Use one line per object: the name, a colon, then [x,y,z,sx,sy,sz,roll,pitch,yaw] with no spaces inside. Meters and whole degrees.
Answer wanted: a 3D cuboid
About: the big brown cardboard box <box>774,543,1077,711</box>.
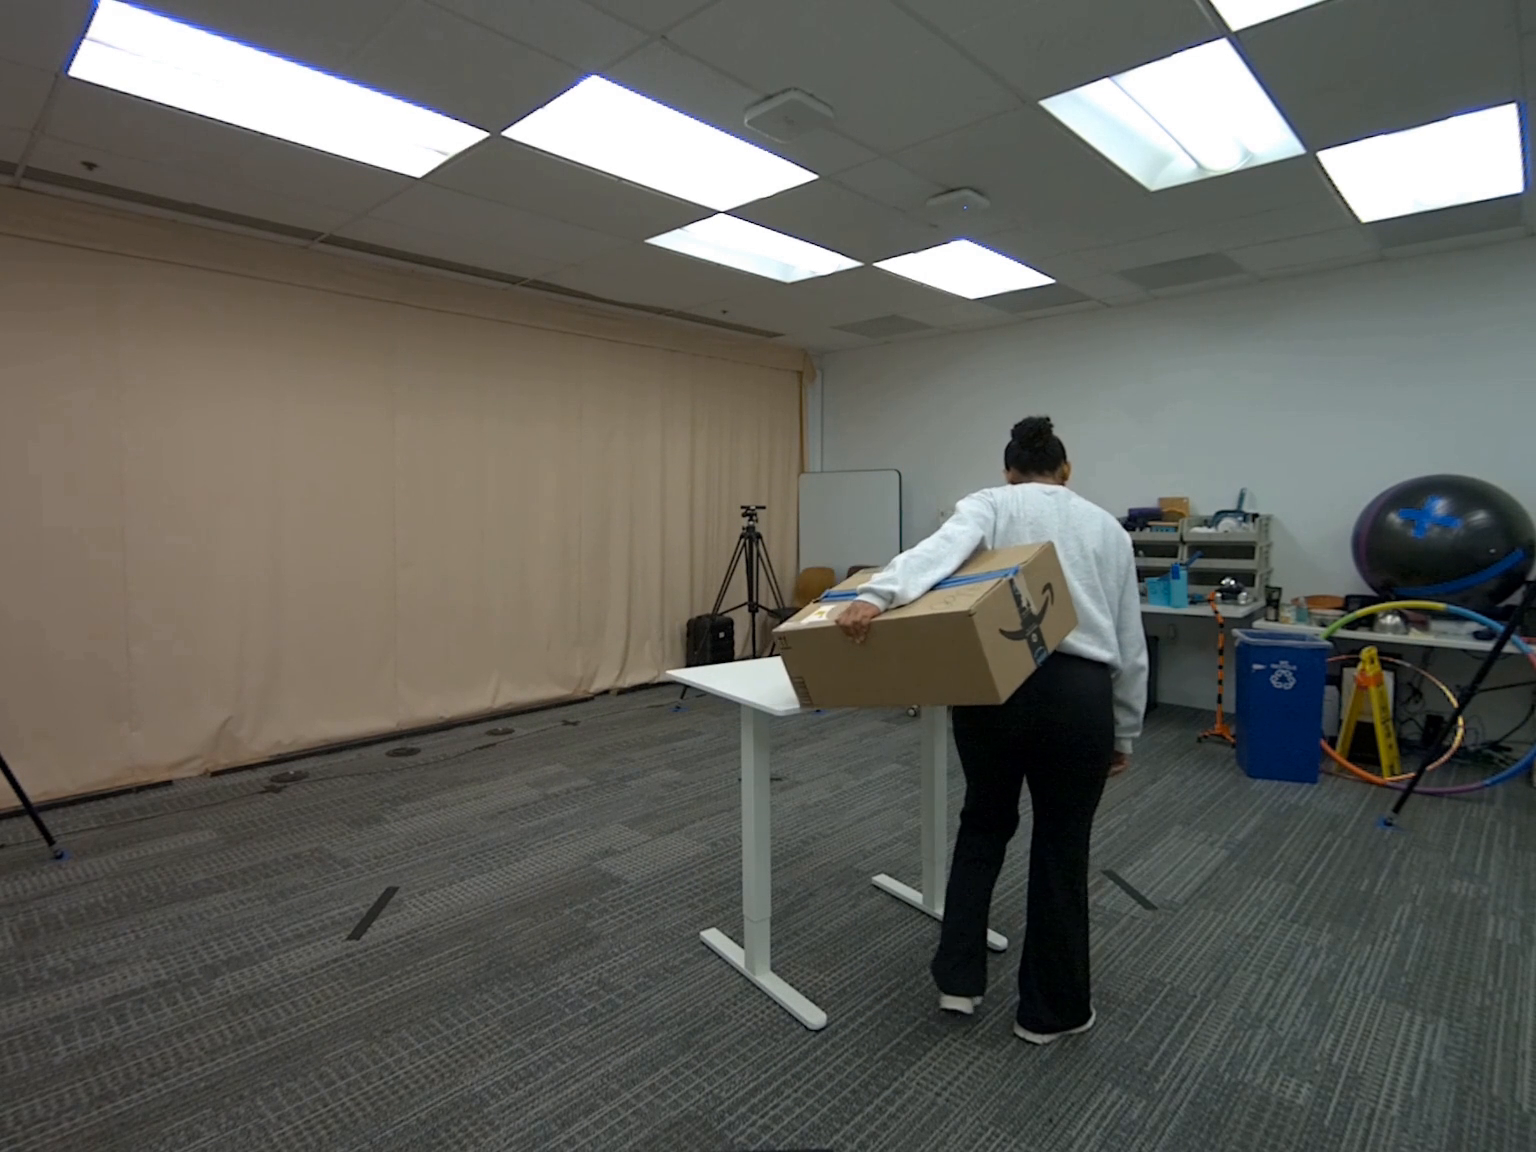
big brown cardboard box: [0.364,0.130,2.045,0.606,0.231,0.409,-9,15,46]
